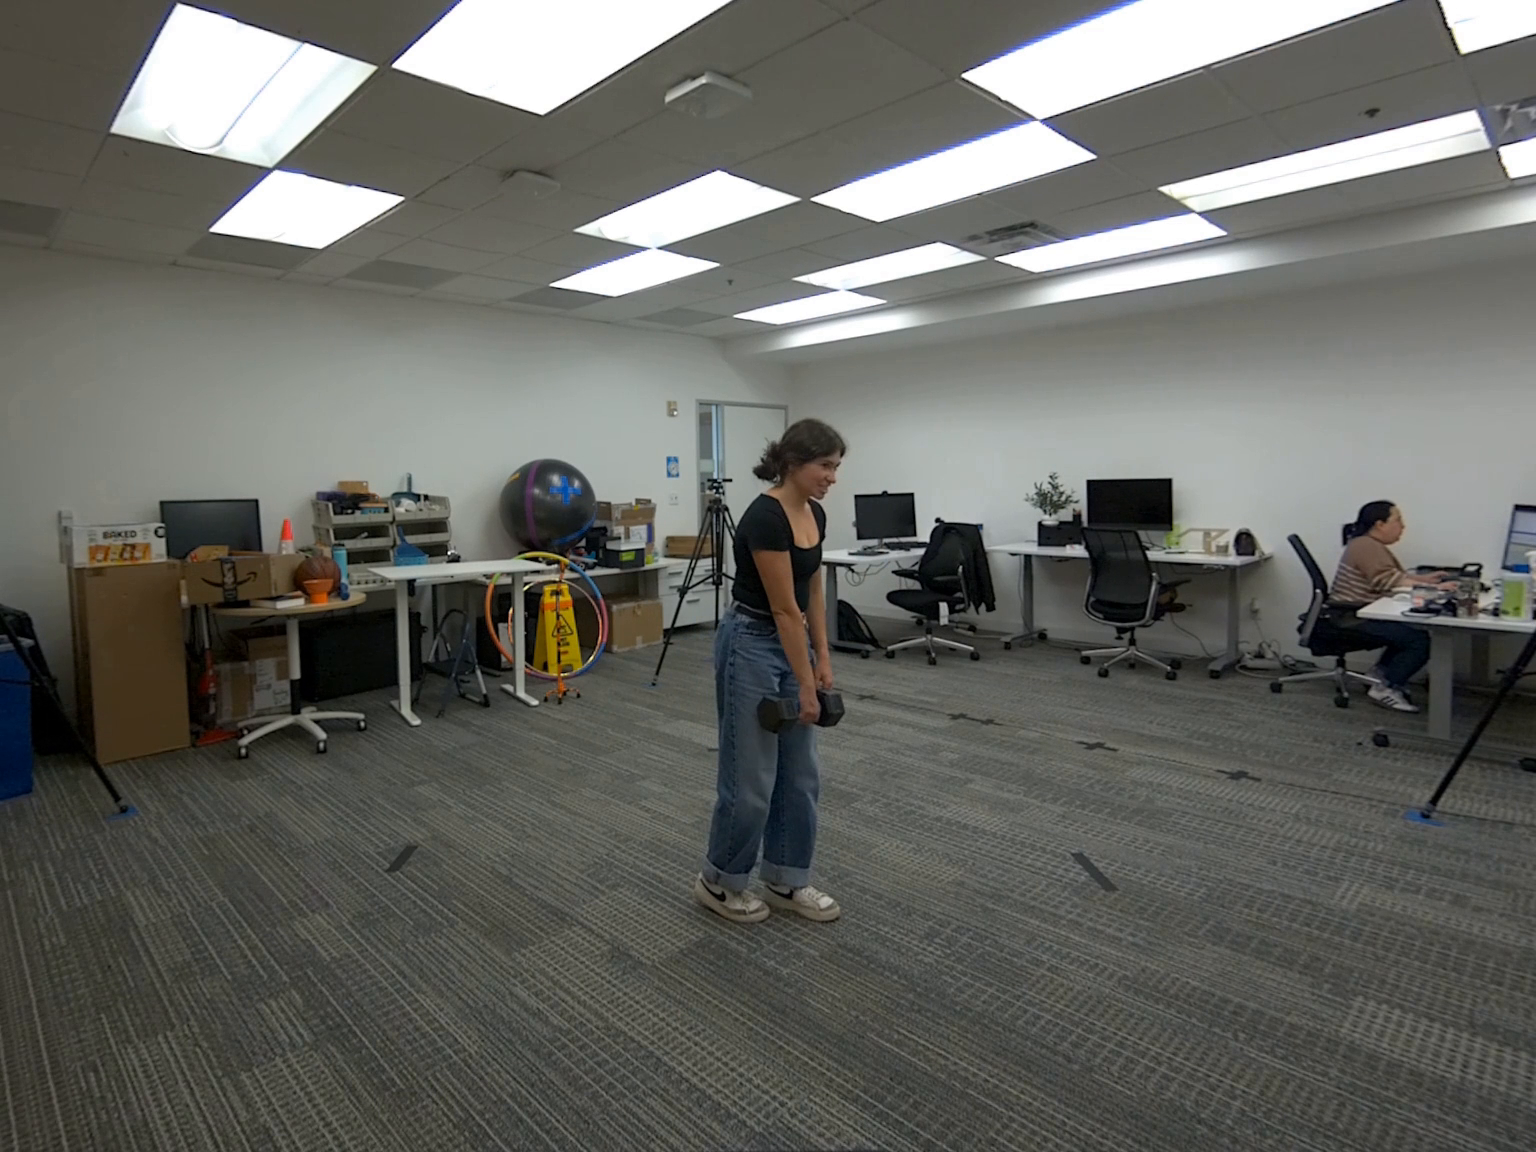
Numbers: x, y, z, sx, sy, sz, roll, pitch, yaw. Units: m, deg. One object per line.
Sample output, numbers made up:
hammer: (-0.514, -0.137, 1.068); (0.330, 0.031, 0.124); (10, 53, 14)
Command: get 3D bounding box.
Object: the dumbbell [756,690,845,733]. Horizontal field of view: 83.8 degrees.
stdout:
dumbbell: (0.095, 0.414, 2.617); (0.285, 0.122, 0.113); (1, 37, -45)
